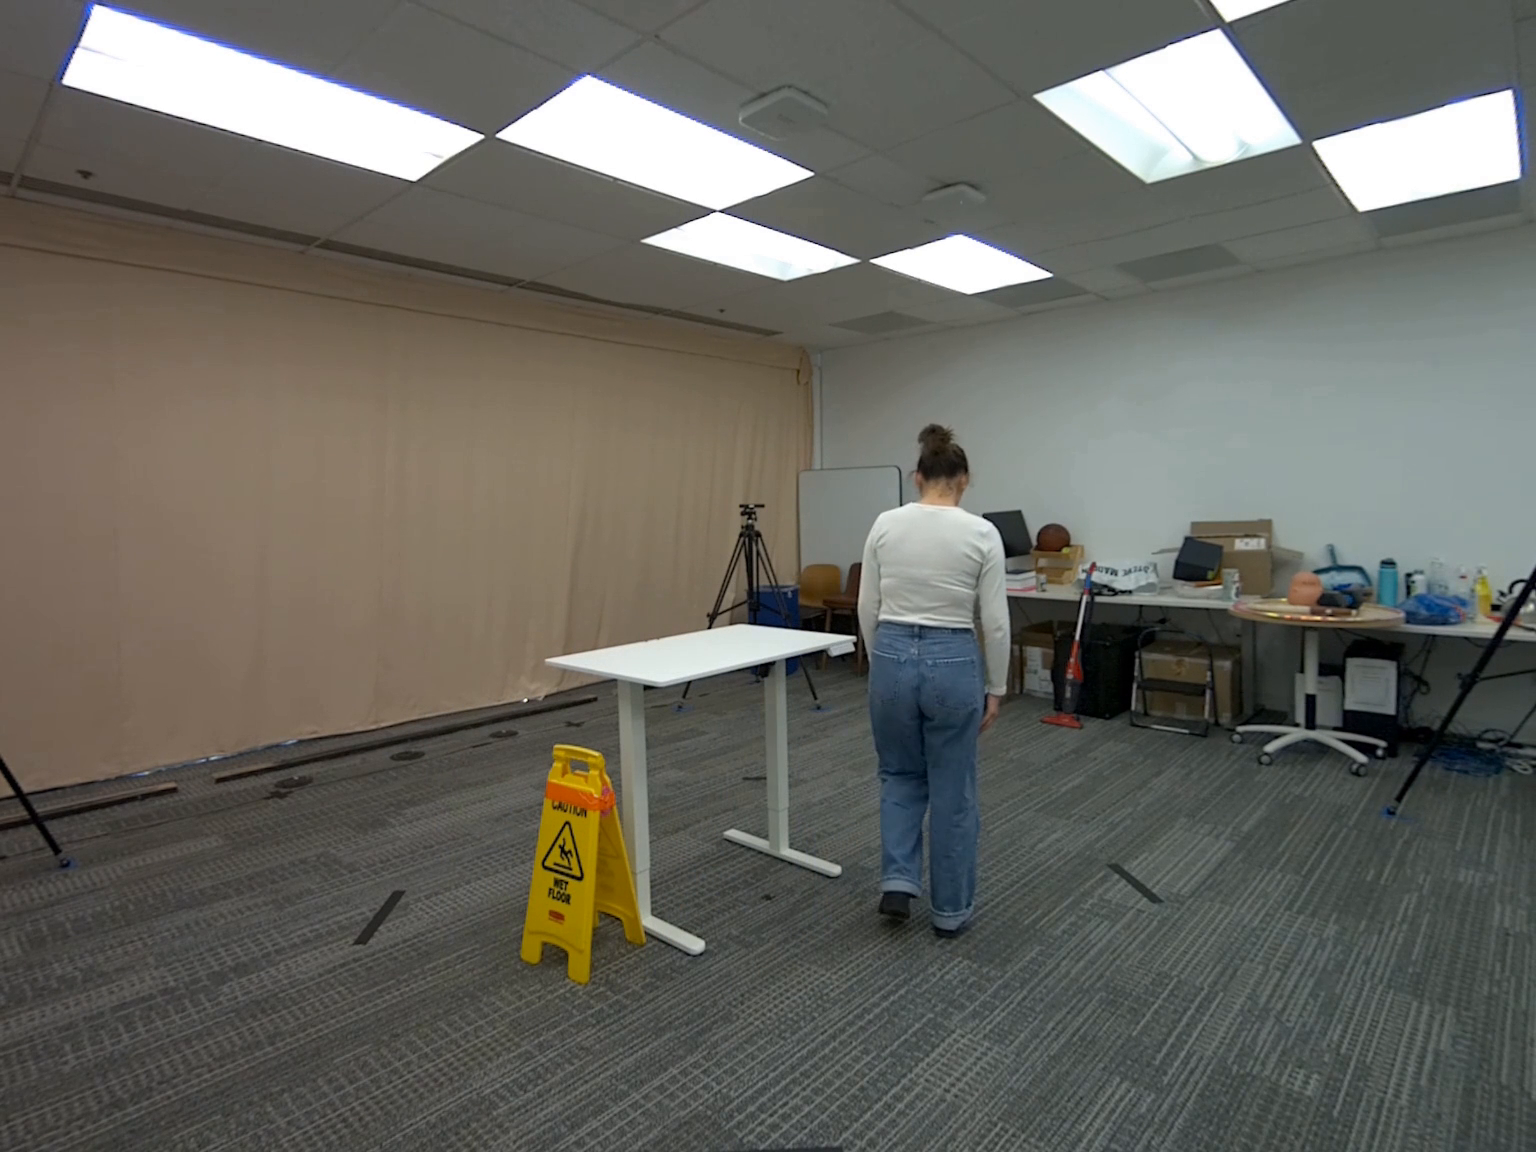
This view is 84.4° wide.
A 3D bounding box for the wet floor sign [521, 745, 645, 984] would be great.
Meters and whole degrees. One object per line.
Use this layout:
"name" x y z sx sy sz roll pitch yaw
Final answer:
"wet floor sign" -0.586 0.864 2.632 0.291 0.644 0.282 0 4 34
